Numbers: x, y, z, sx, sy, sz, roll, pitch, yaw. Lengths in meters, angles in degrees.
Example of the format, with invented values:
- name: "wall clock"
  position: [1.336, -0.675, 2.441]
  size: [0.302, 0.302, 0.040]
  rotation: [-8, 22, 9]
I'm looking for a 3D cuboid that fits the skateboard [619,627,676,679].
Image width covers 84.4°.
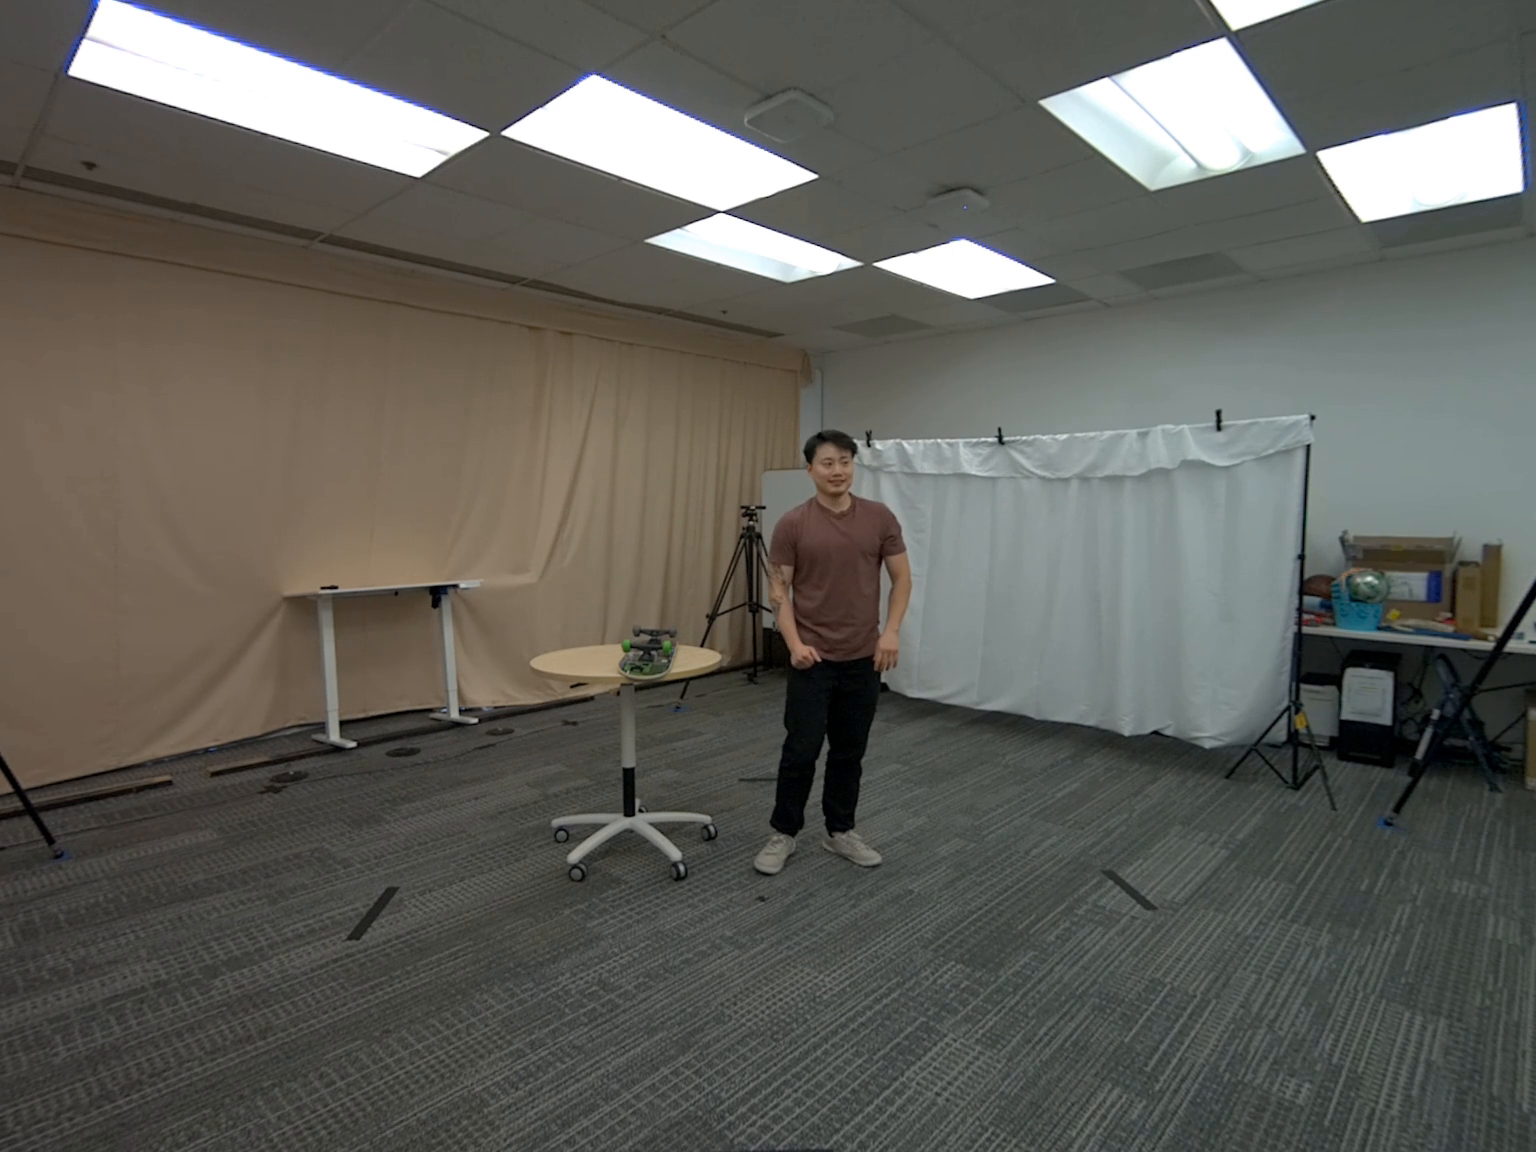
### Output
- name: "skateboard"
  position: [-0.470, 0.287, 3.386]
  size: [0.193, 0.110, 0.788]
  rotation: [0, 4, -3]
